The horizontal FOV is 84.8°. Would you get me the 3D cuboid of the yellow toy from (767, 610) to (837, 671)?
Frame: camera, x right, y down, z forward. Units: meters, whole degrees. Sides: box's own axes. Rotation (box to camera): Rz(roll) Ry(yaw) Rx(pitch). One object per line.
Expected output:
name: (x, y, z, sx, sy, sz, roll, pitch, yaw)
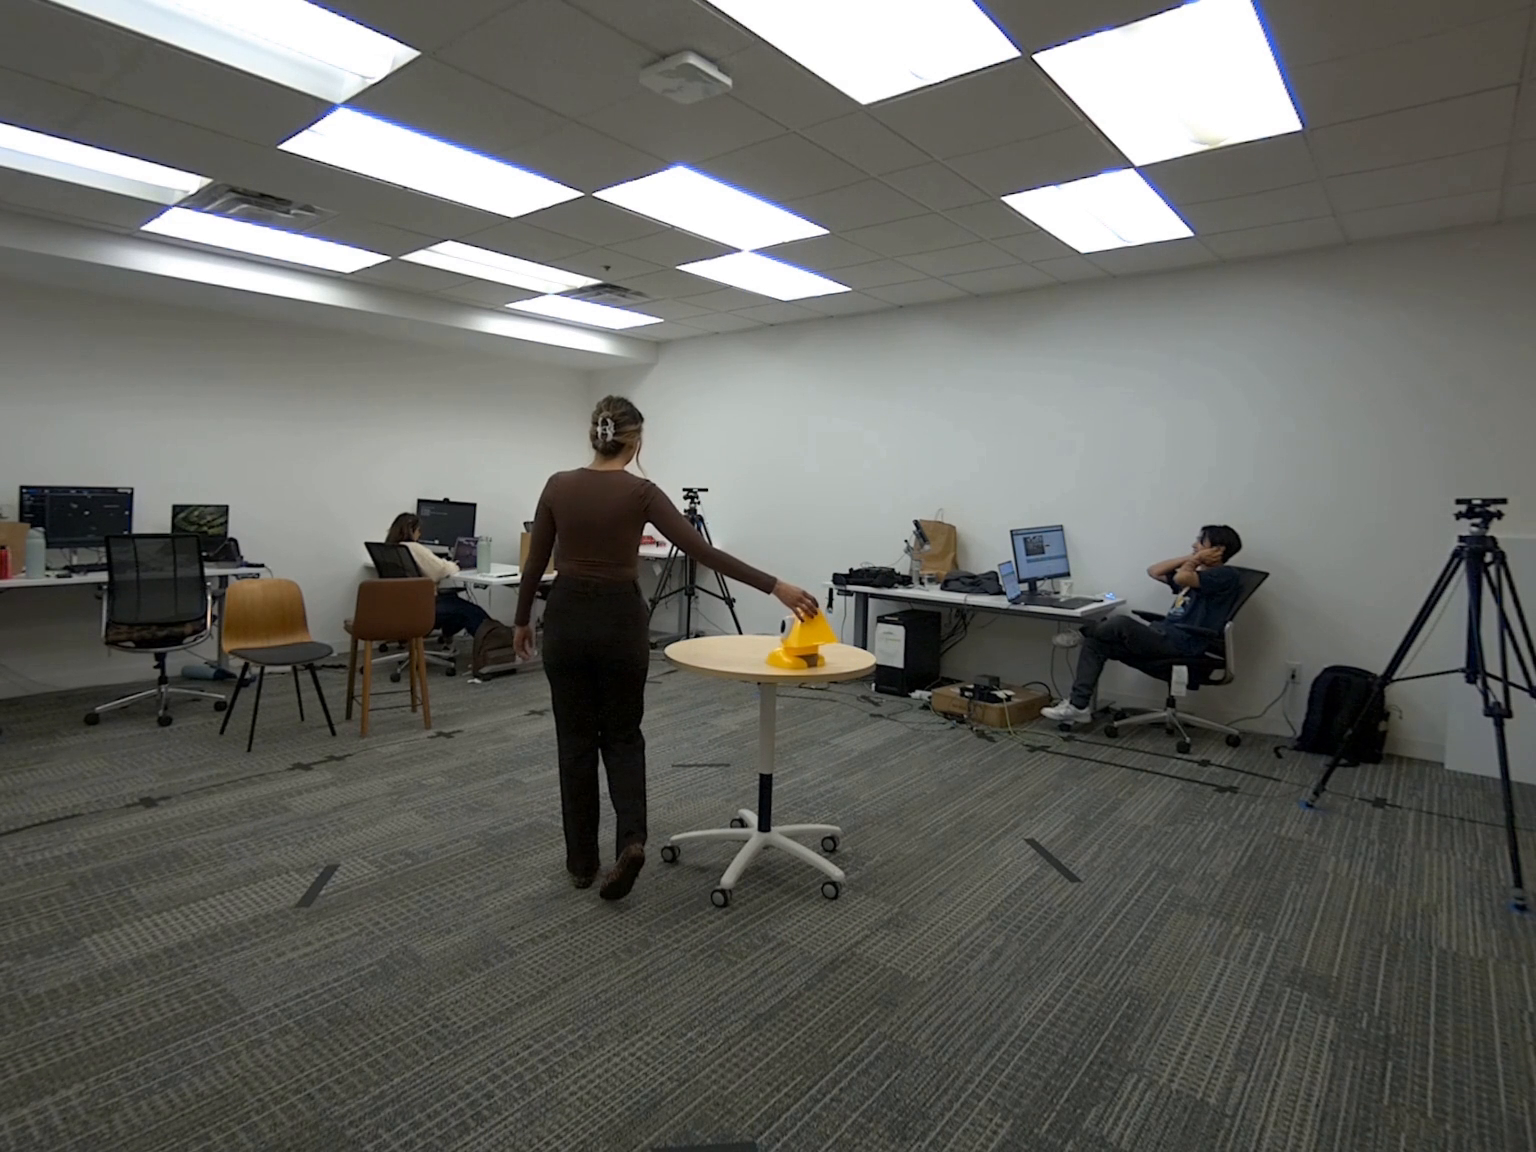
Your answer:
yellow toy: (0.102, 0.184, 2.908, 0.198, 0.230, 0.199, -2, 5, -42)
